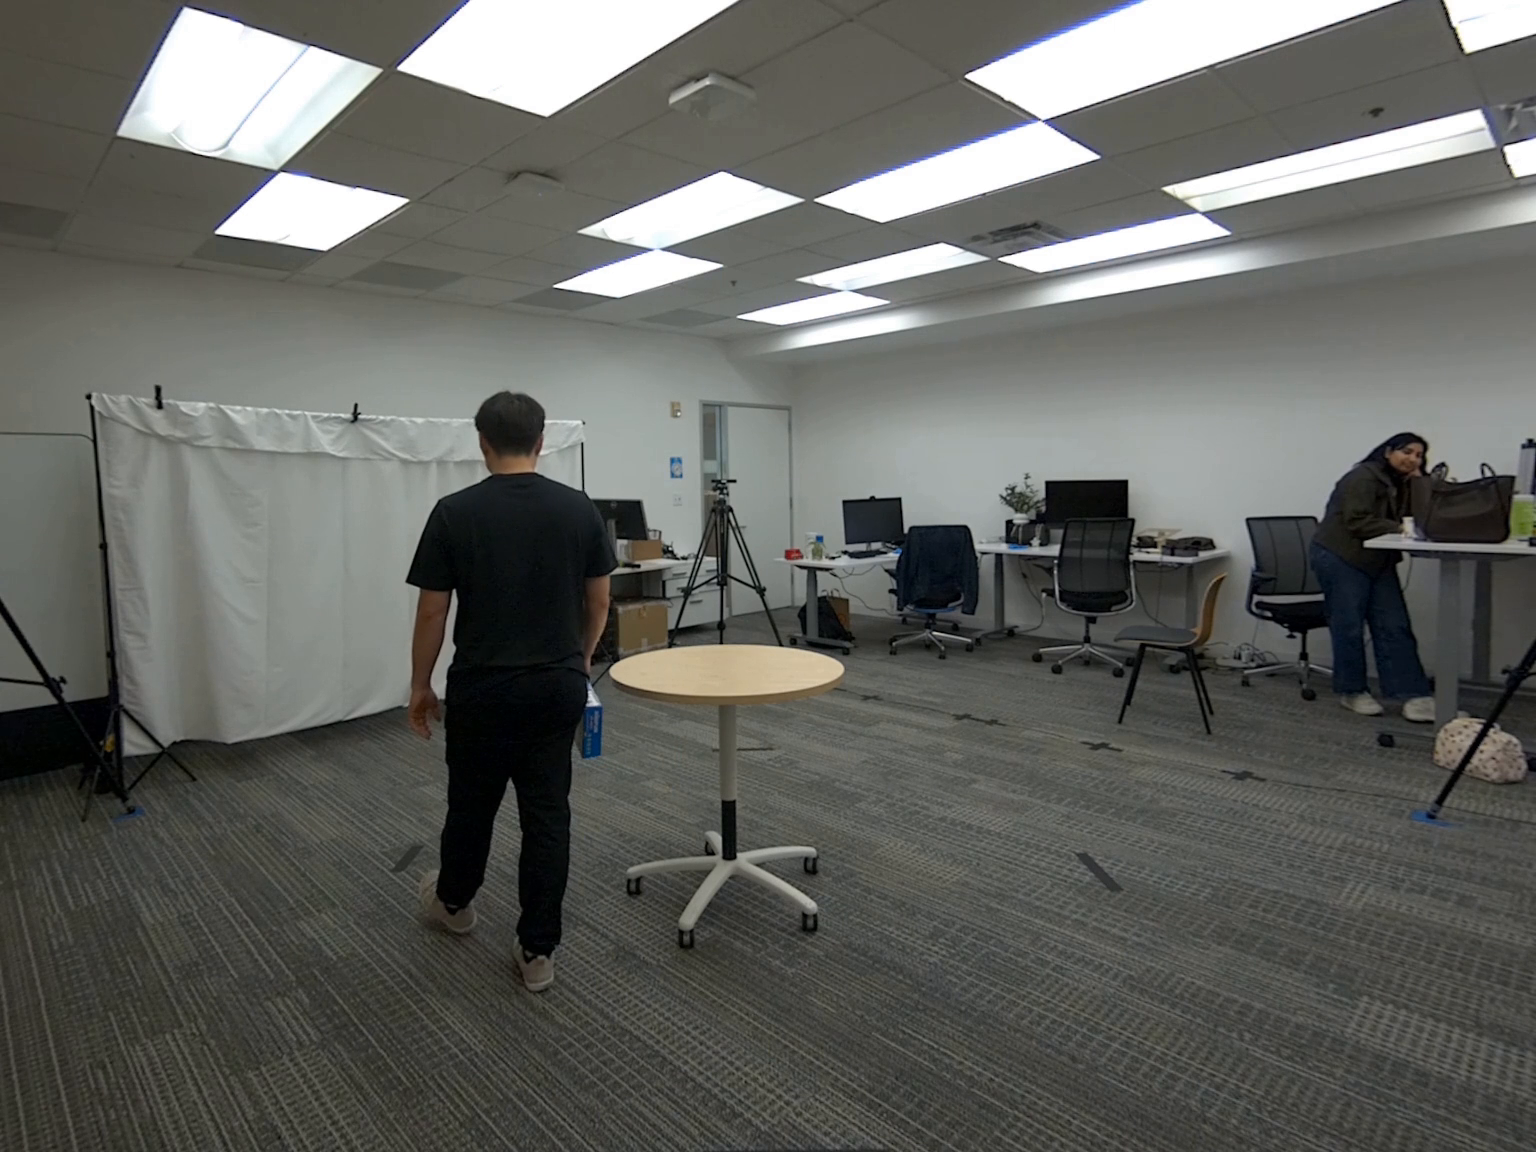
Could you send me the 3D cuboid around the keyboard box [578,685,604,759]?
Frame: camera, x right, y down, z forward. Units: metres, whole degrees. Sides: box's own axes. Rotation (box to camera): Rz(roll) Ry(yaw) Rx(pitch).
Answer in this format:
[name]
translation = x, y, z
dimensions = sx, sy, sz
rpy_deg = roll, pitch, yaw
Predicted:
[keyboard box]
translation = -0.614, 0.397, 2.743
dimensions = 0.058, 0.173, 0.452
rpy_deg = -4, 22, -26
